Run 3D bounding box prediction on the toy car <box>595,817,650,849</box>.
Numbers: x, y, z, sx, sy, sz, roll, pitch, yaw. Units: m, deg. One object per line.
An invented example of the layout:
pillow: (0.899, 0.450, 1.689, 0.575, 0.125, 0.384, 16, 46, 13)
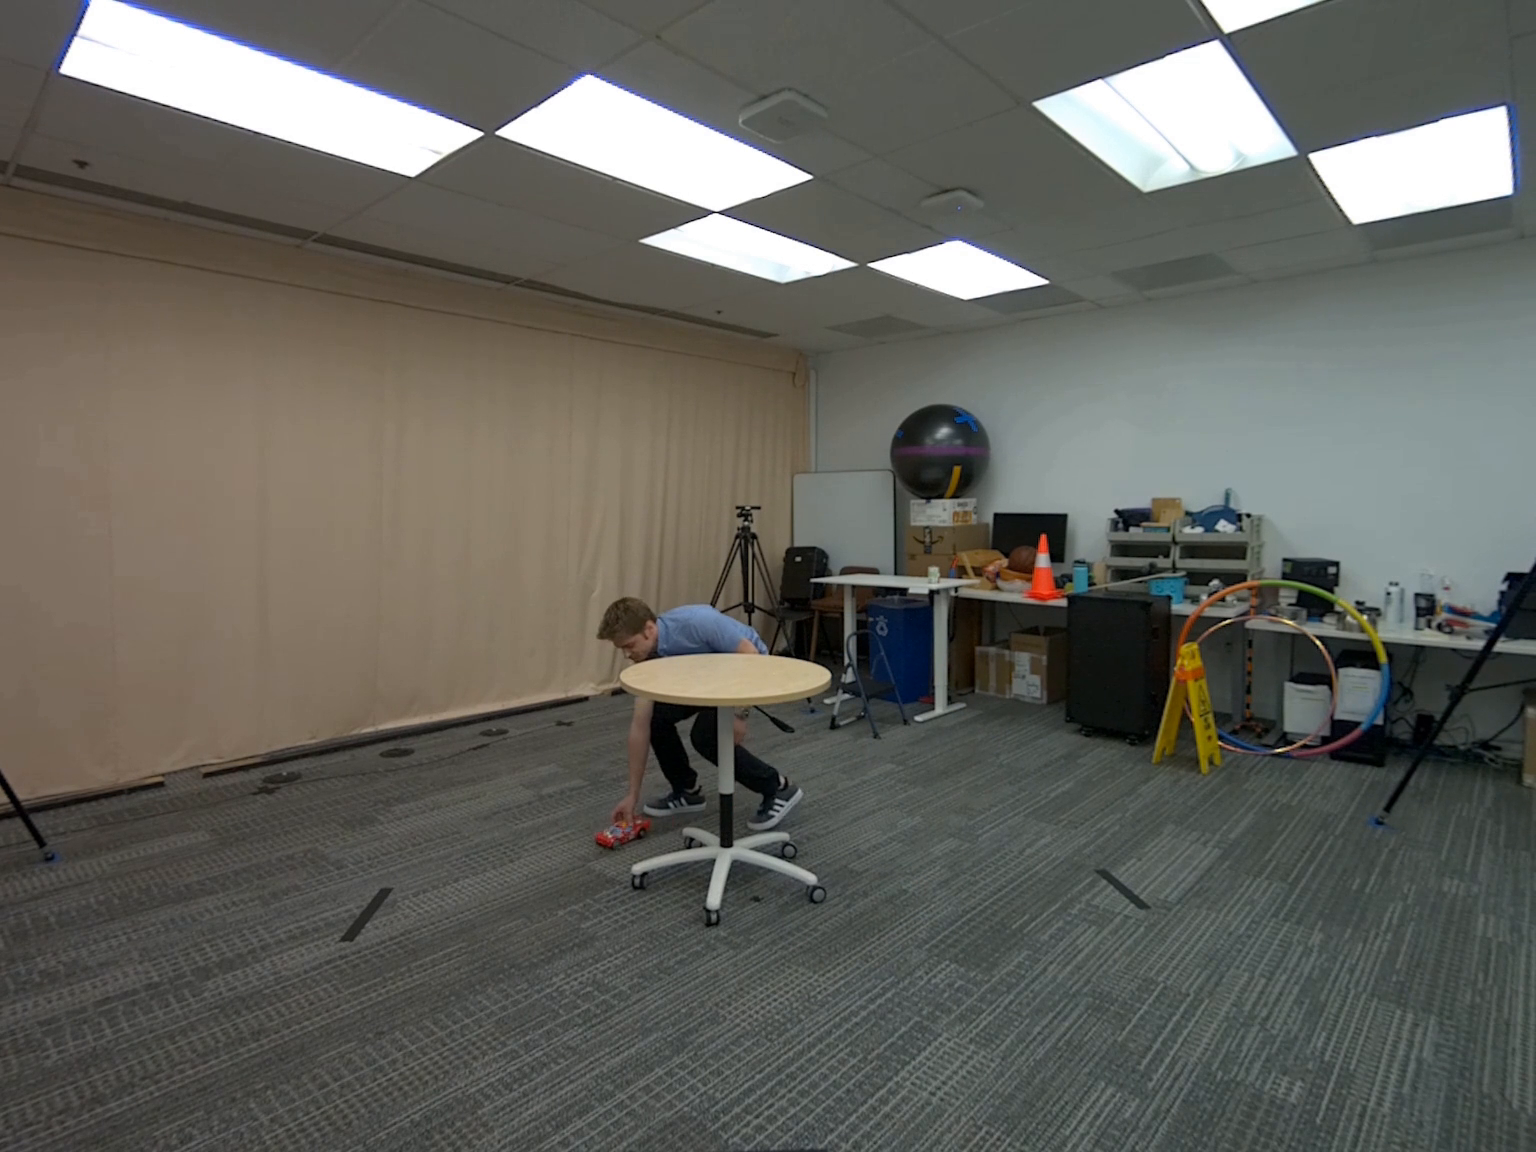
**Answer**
toy car: (-0.603, 1.074, 3.527, 0.134, 0.082, 0.248, 2, 15, 38)
